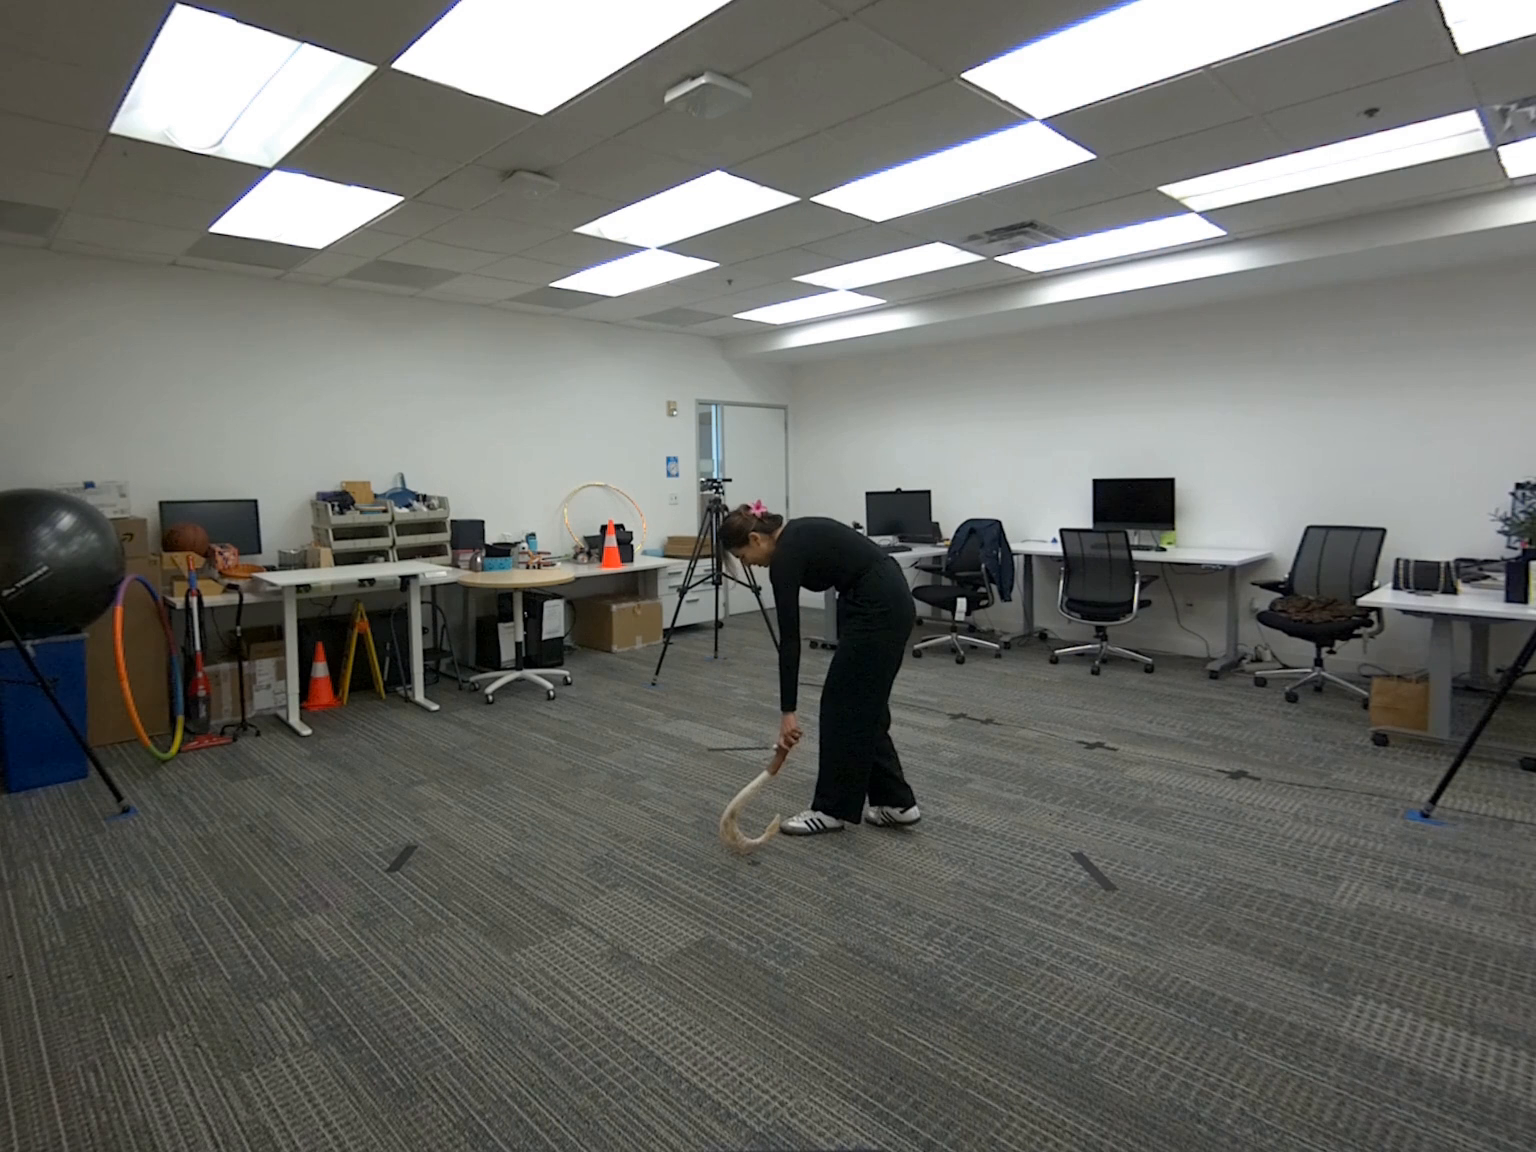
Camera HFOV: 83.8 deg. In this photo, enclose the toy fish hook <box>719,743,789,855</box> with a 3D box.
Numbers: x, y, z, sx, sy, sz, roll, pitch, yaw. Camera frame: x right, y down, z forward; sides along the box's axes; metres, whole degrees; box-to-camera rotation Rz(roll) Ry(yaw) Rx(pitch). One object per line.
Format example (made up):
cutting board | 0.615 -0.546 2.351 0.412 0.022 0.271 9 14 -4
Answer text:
toy fish hook | 0.014 0.803 3.205 0.219 0.507 0.049 37 -8 -21
